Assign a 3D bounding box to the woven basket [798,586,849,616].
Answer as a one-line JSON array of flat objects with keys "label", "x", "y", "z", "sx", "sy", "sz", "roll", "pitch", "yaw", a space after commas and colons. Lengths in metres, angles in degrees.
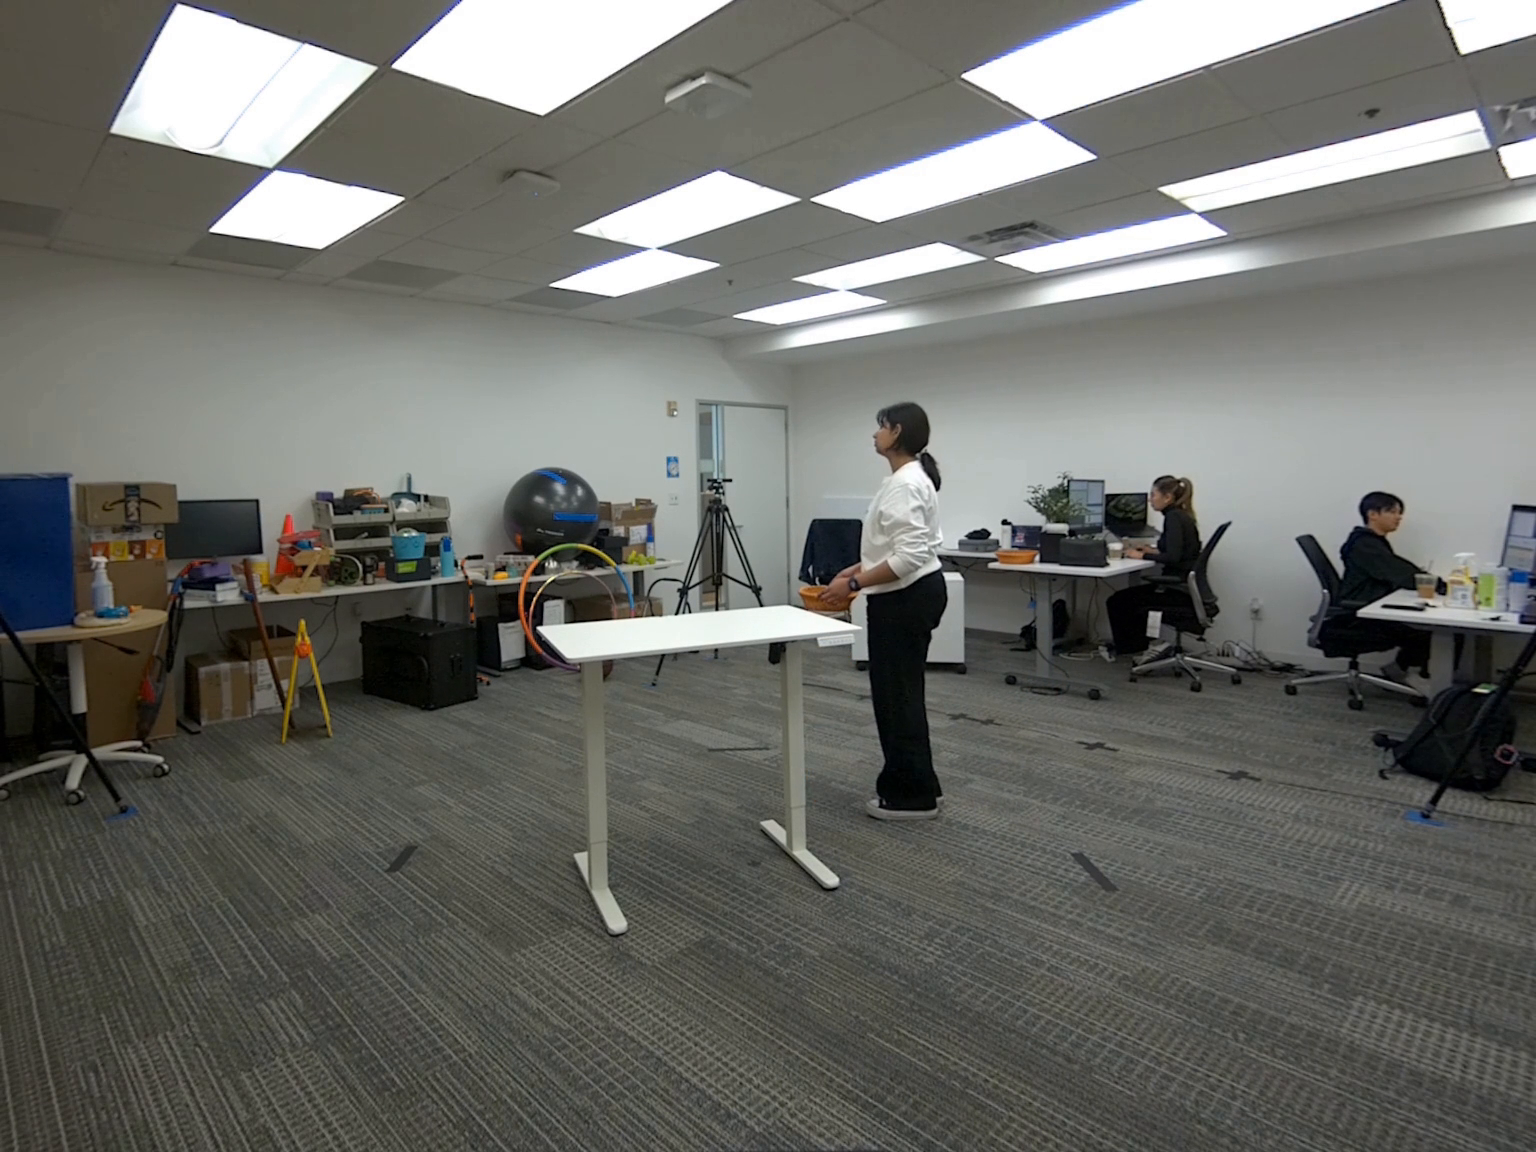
[{"label": "woven basket", "x": 0.276, "y": 0.097, "z": 3.636, "sx": 0.257, "sy": 0.073, "sz": 0.345, "roll": 5, "pitch": 7, "yaw": 17}]
